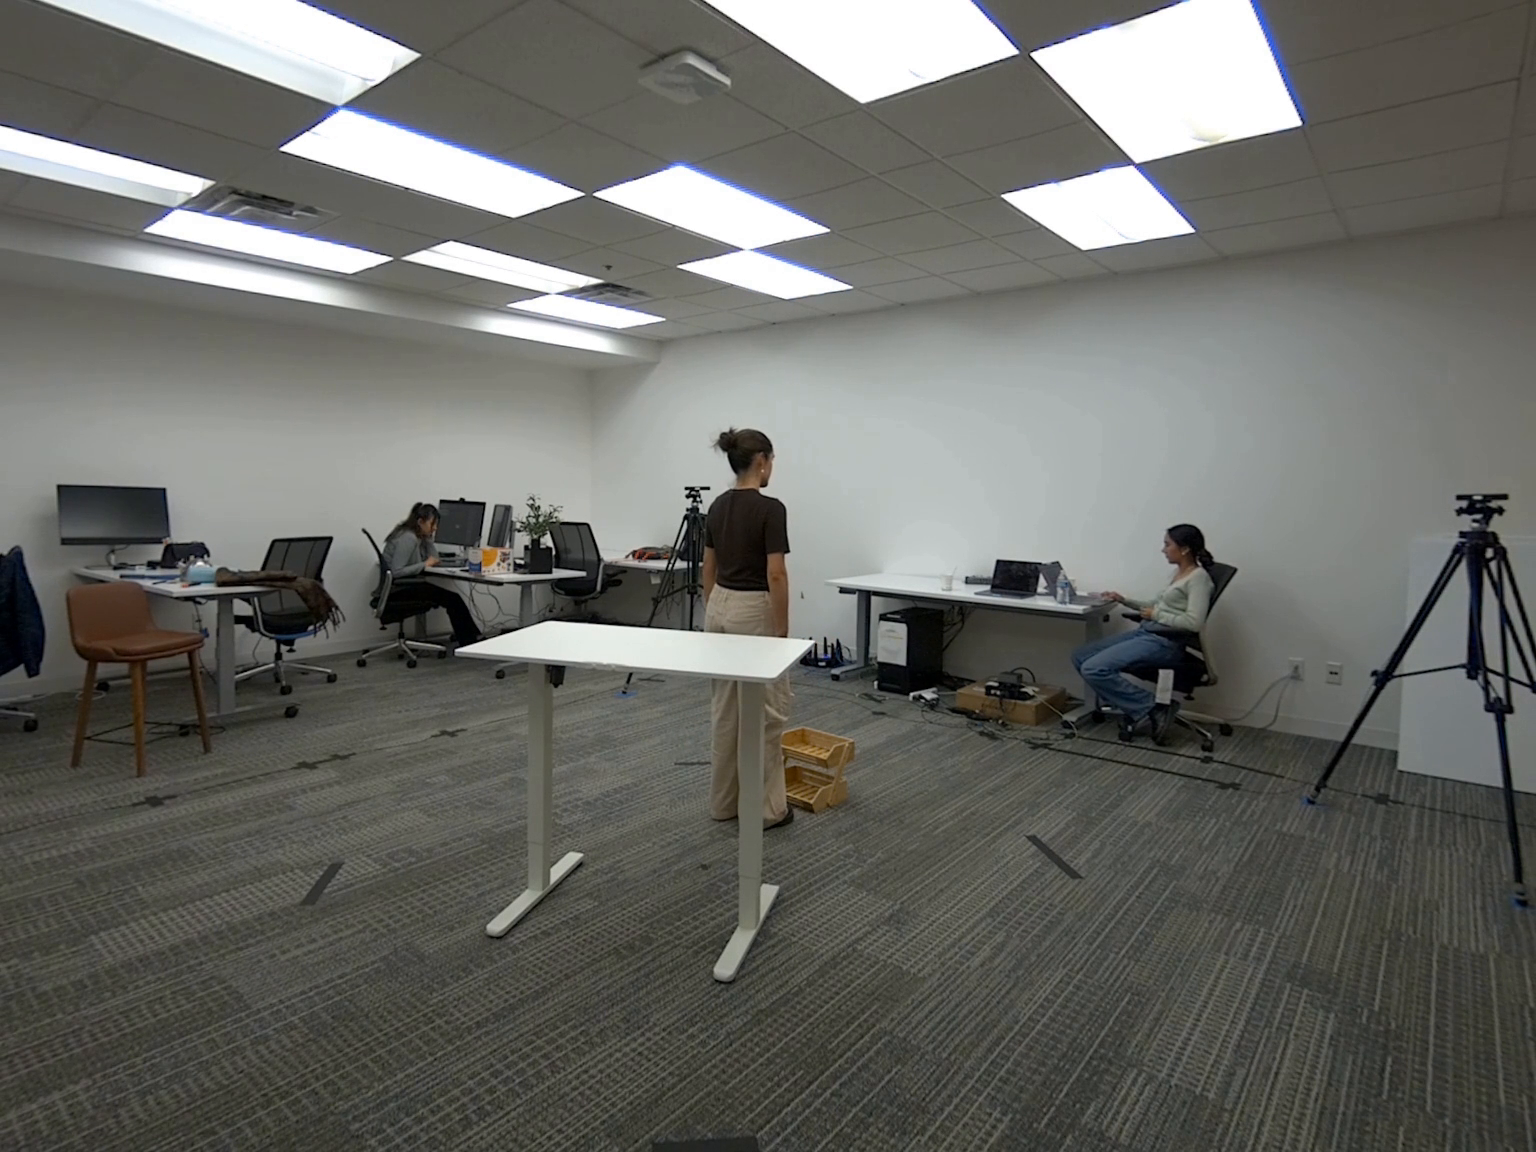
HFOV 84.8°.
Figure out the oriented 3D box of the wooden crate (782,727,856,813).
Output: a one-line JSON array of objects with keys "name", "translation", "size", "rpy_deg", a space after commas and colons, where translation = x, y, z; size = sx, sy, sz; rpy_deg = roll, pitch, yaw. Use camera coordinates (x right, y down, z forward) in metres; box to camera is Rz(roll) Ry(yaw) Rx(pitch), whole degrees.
[{"name": "wooden crate", "translation": [0.169, 0.860, 3.856], "size": [0.335, 0.273, 0.293], "rpy_deg": [4, 5, 43]}]
